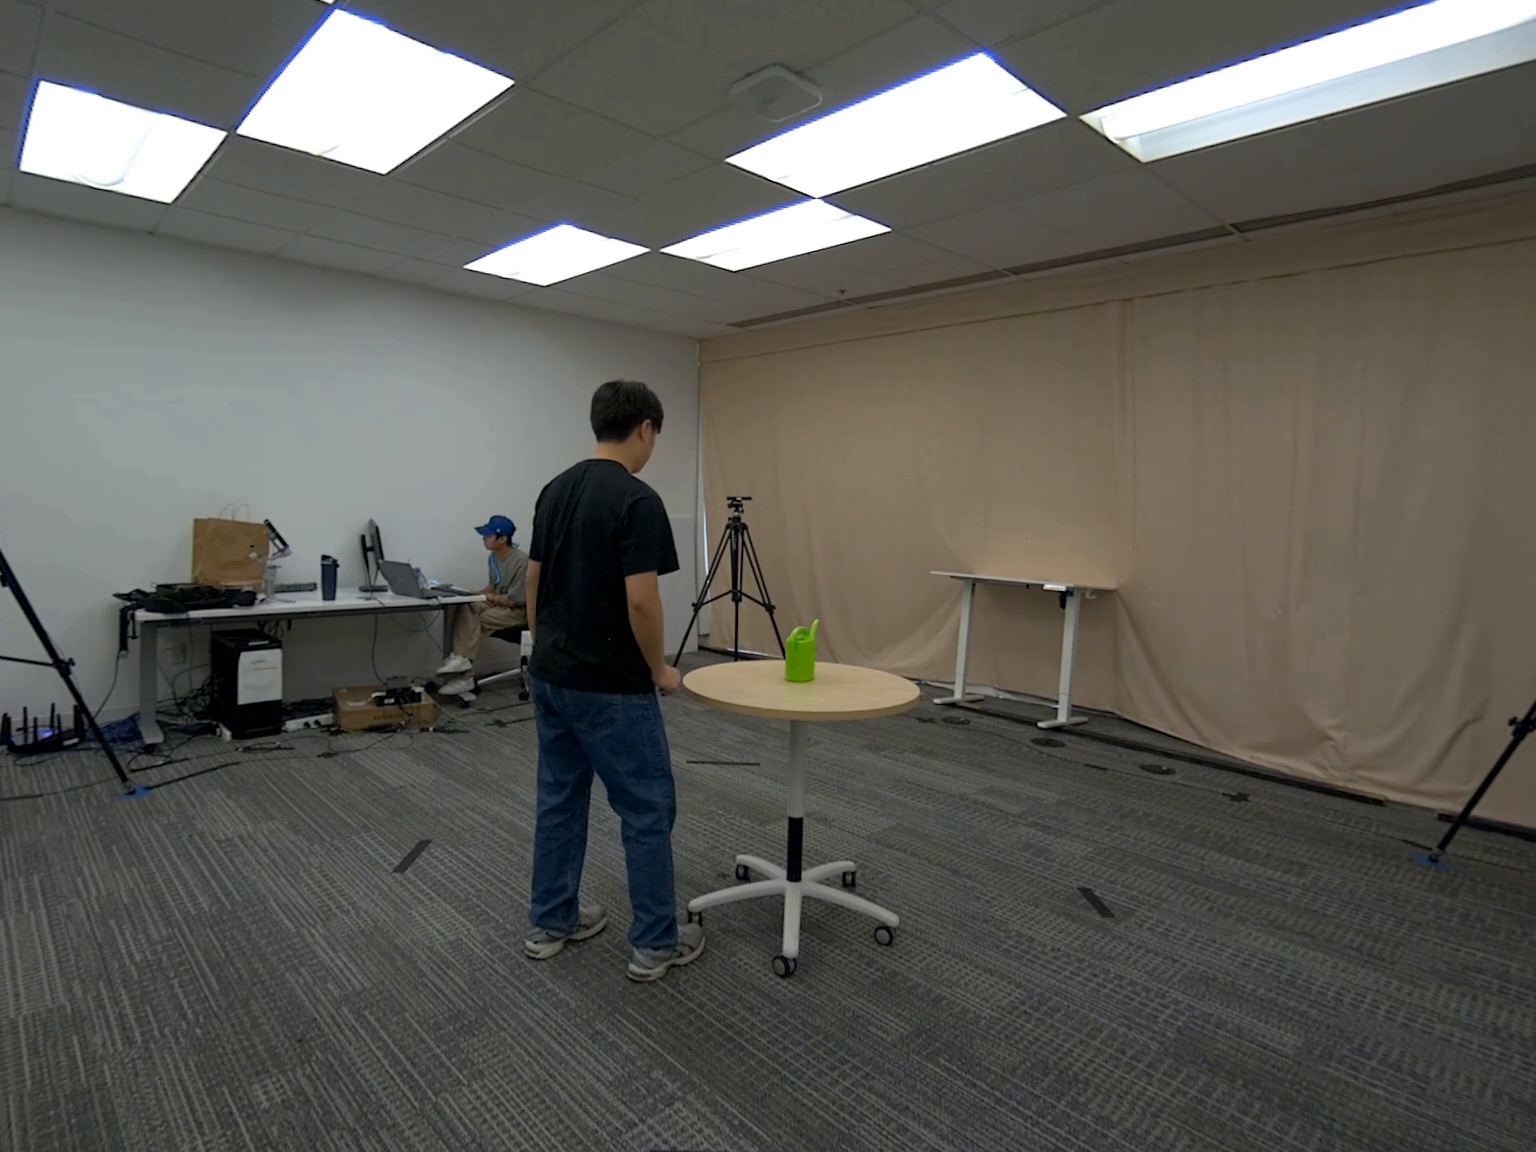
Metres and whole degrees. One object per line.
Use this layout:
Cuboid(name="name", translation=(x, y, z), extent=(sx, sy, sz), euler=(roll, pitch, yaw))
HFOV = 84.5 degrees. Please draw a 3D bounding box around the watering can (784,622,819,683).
Cuboid(name="watering can", translation=(0.126, 0.254, 2.830), extent=(0.100, 0.176, 0.273), euler=(4, 7, 33))
